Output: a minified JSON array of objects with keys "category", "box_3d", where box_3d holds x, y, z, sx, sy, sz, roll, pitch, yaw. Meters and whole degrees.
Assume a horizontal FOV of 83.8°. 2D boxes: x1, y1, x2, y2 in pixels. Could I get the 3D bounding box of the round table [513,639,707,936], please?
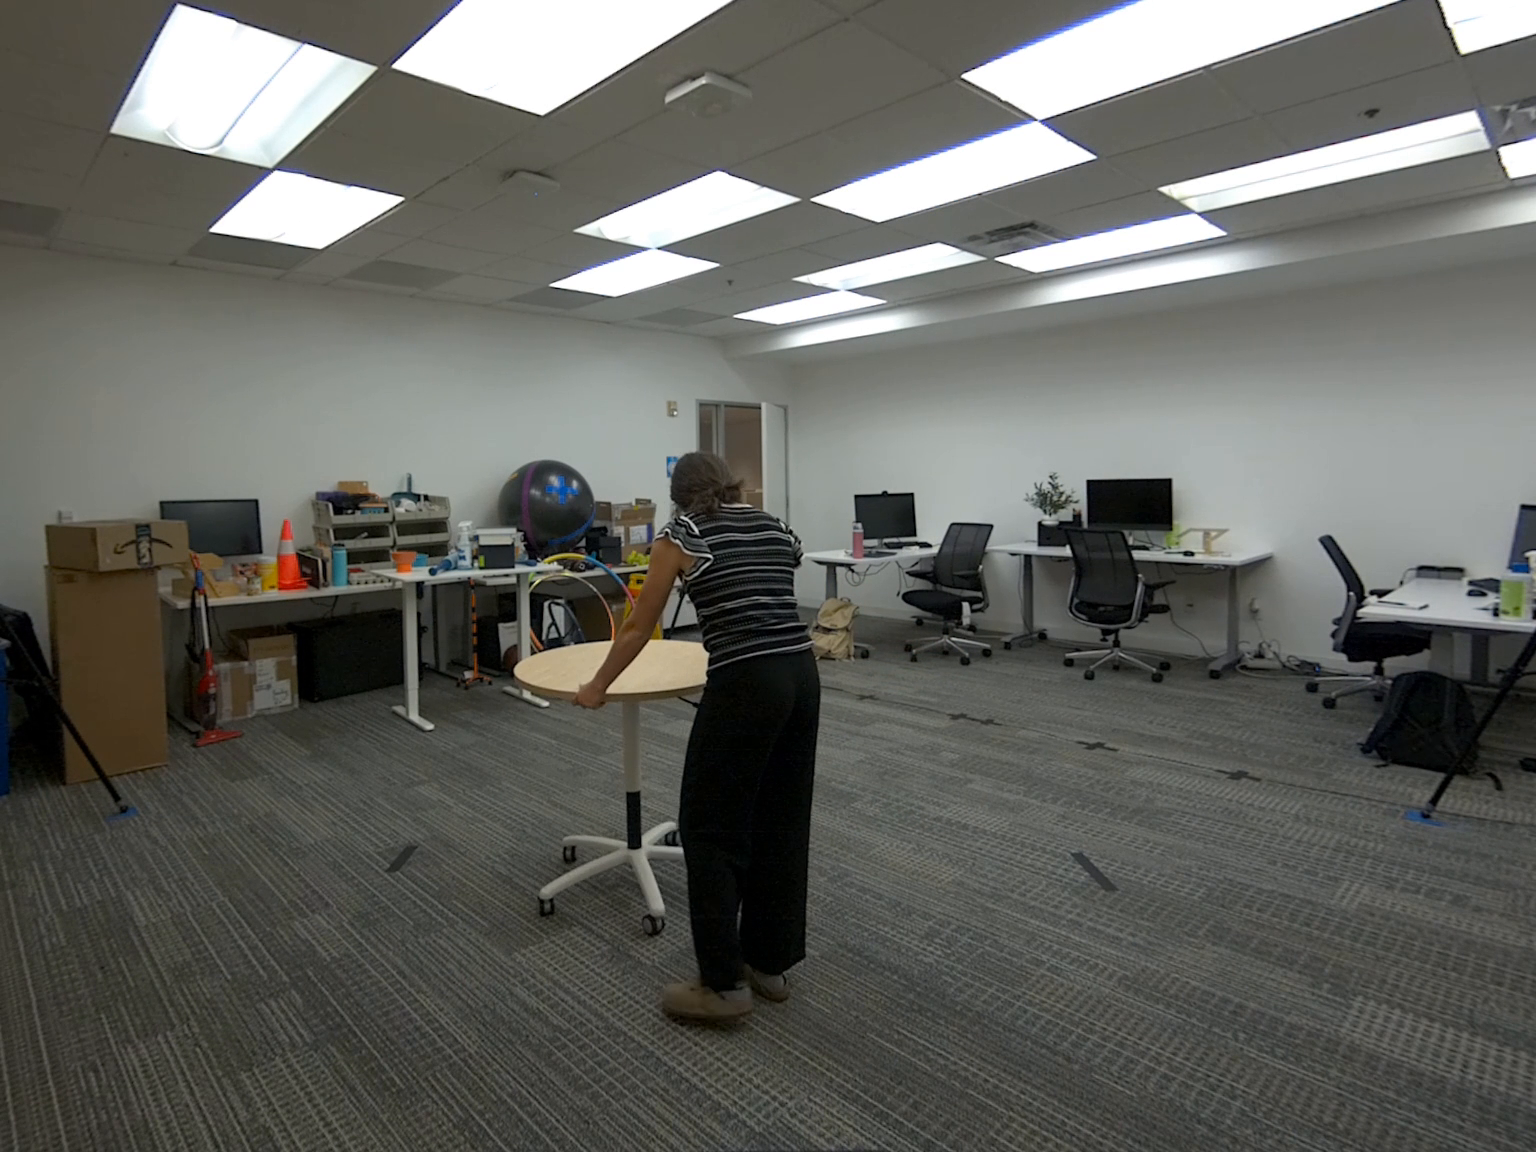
[{"category":"round table","box_3d":[-0.459,0.684,2.928,0.763,0.790,0.769,-1,6,-2]}]
